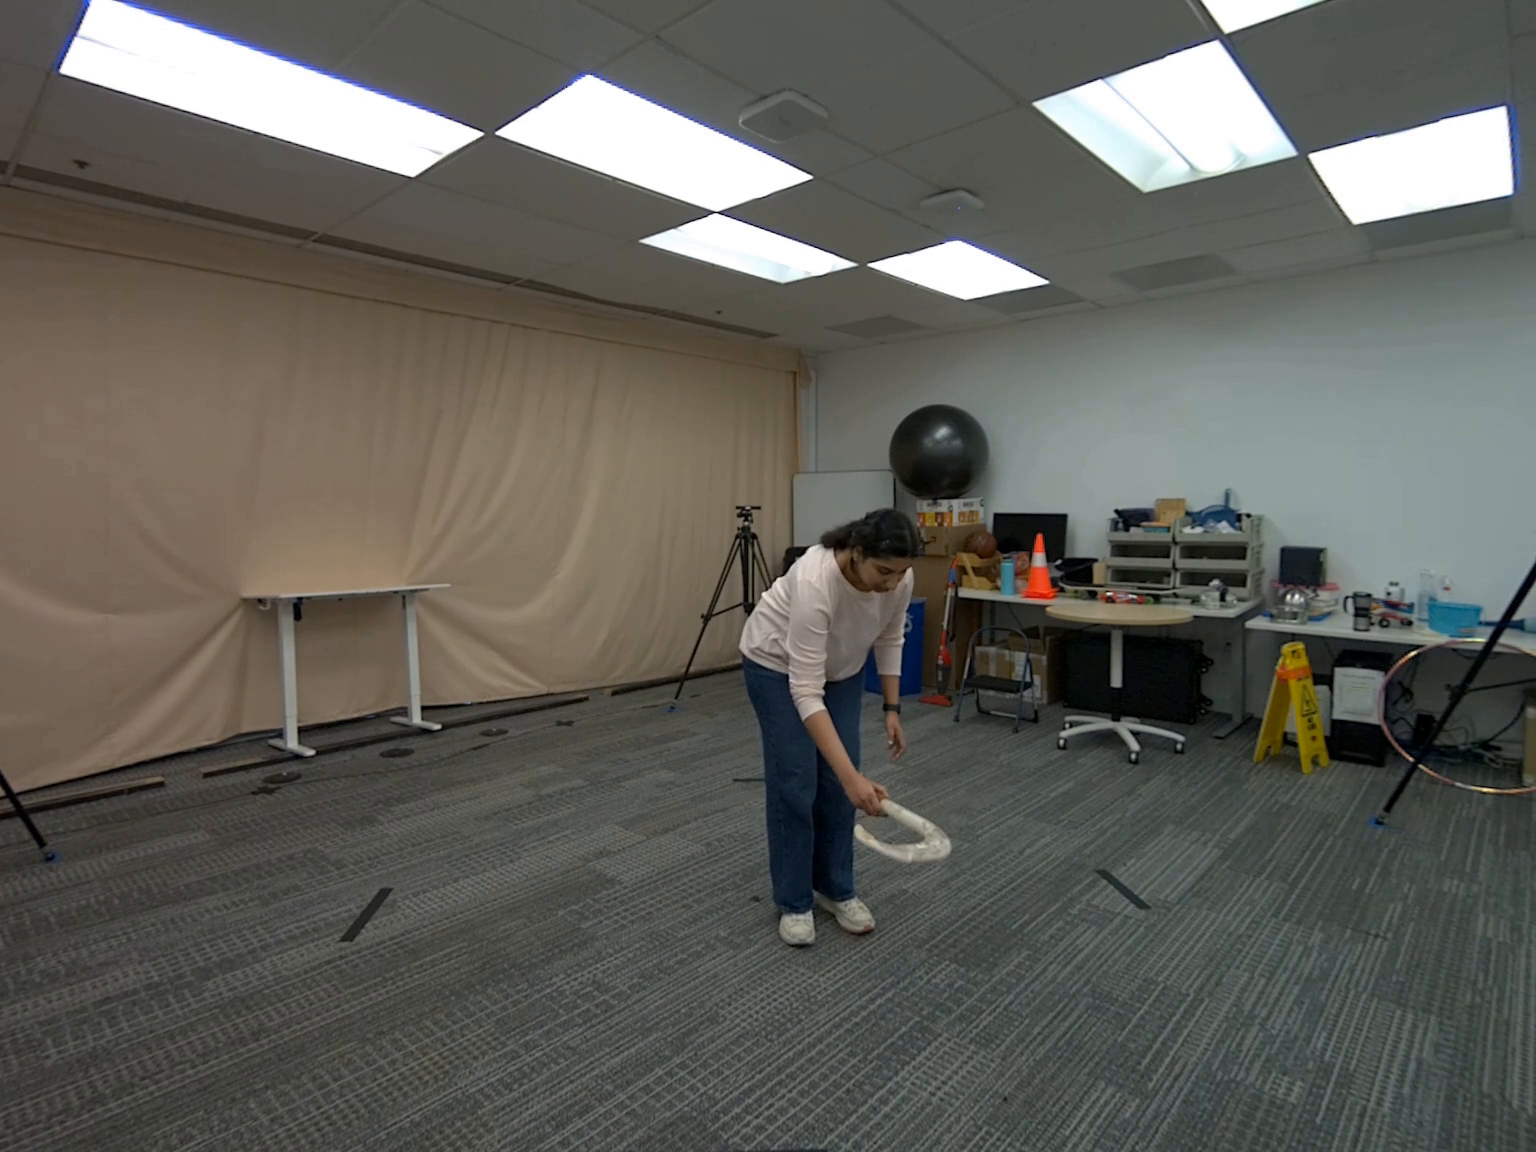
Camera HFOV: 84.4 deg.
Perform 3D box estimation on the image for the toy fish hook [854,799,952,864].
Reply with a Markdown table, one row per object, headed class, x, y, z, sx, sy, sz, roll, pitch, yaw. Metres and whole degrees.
| class | x | y | z | sx | sy | sz | roll | pitch | yaw |
| --- | --- | --- | --- | --- | --- | --- | --- | --- | --- |
| toy fish hook | 0.298 | 0.634 | 2.246 | 0.221 | 0.048 | 0.517 | 4 | 6 | -17 |
